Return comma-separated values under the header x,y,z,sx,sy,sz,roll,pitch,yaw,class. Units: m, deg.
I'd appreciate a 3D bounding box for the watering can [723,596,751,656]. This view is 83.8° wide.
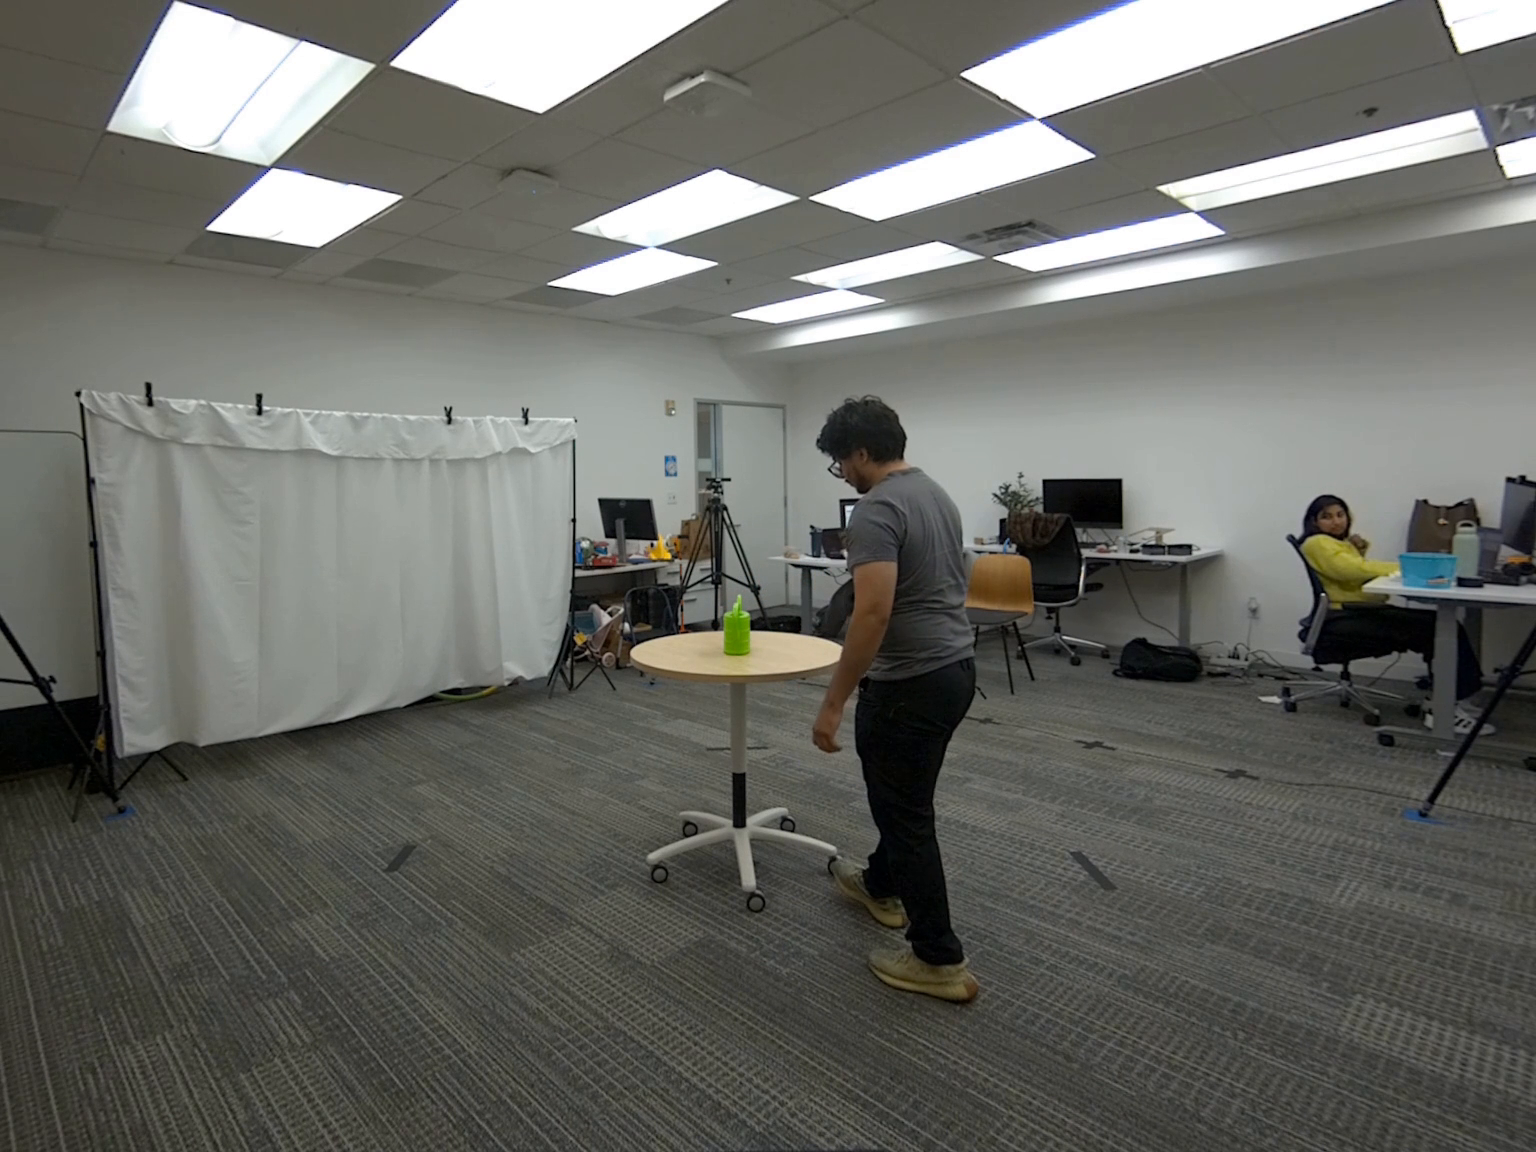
x,y,z,sx,sy,sz,roll,pitch,yaw,class
-0.088,0.181,3.065,0.100,0.176,0.274,2,6,20,watering can
